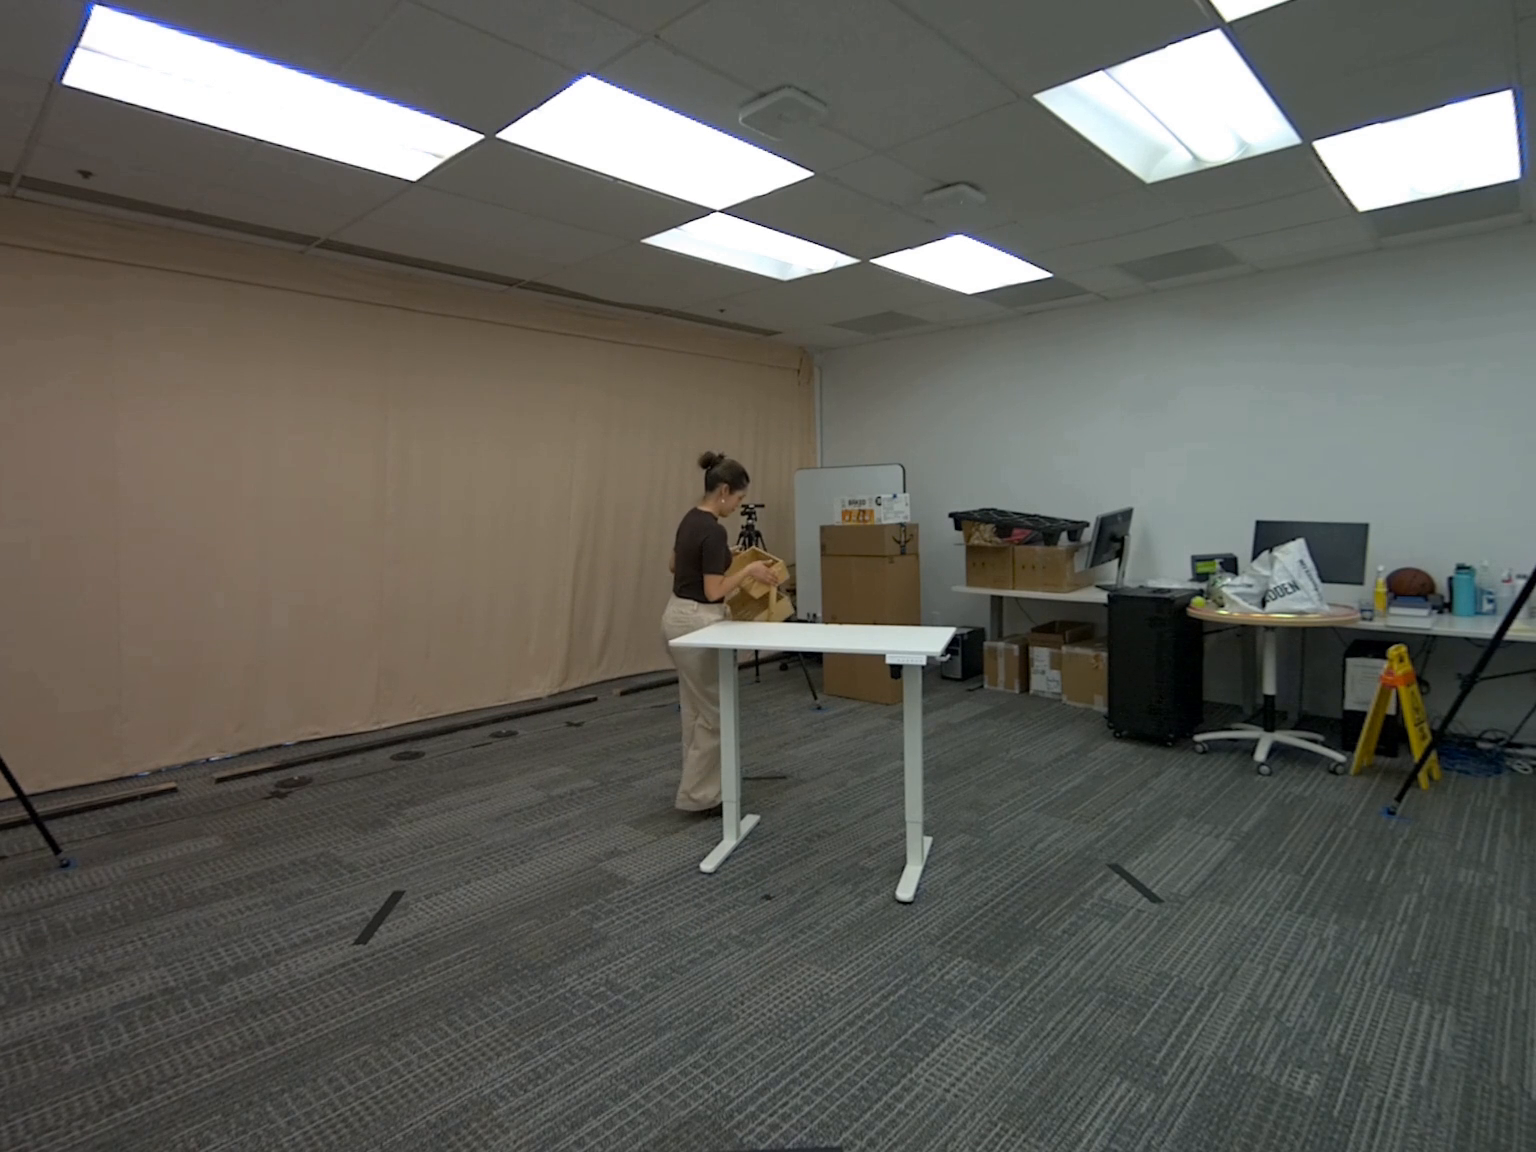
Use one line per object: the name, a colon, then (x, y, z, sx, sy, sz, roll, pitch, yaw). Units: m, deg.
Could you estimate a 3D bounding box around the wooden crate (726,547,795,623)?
wooden crate: (-0.076, 0.077, 3.952, 0.299, 0.267, 0.335, -32, 26, -16)
